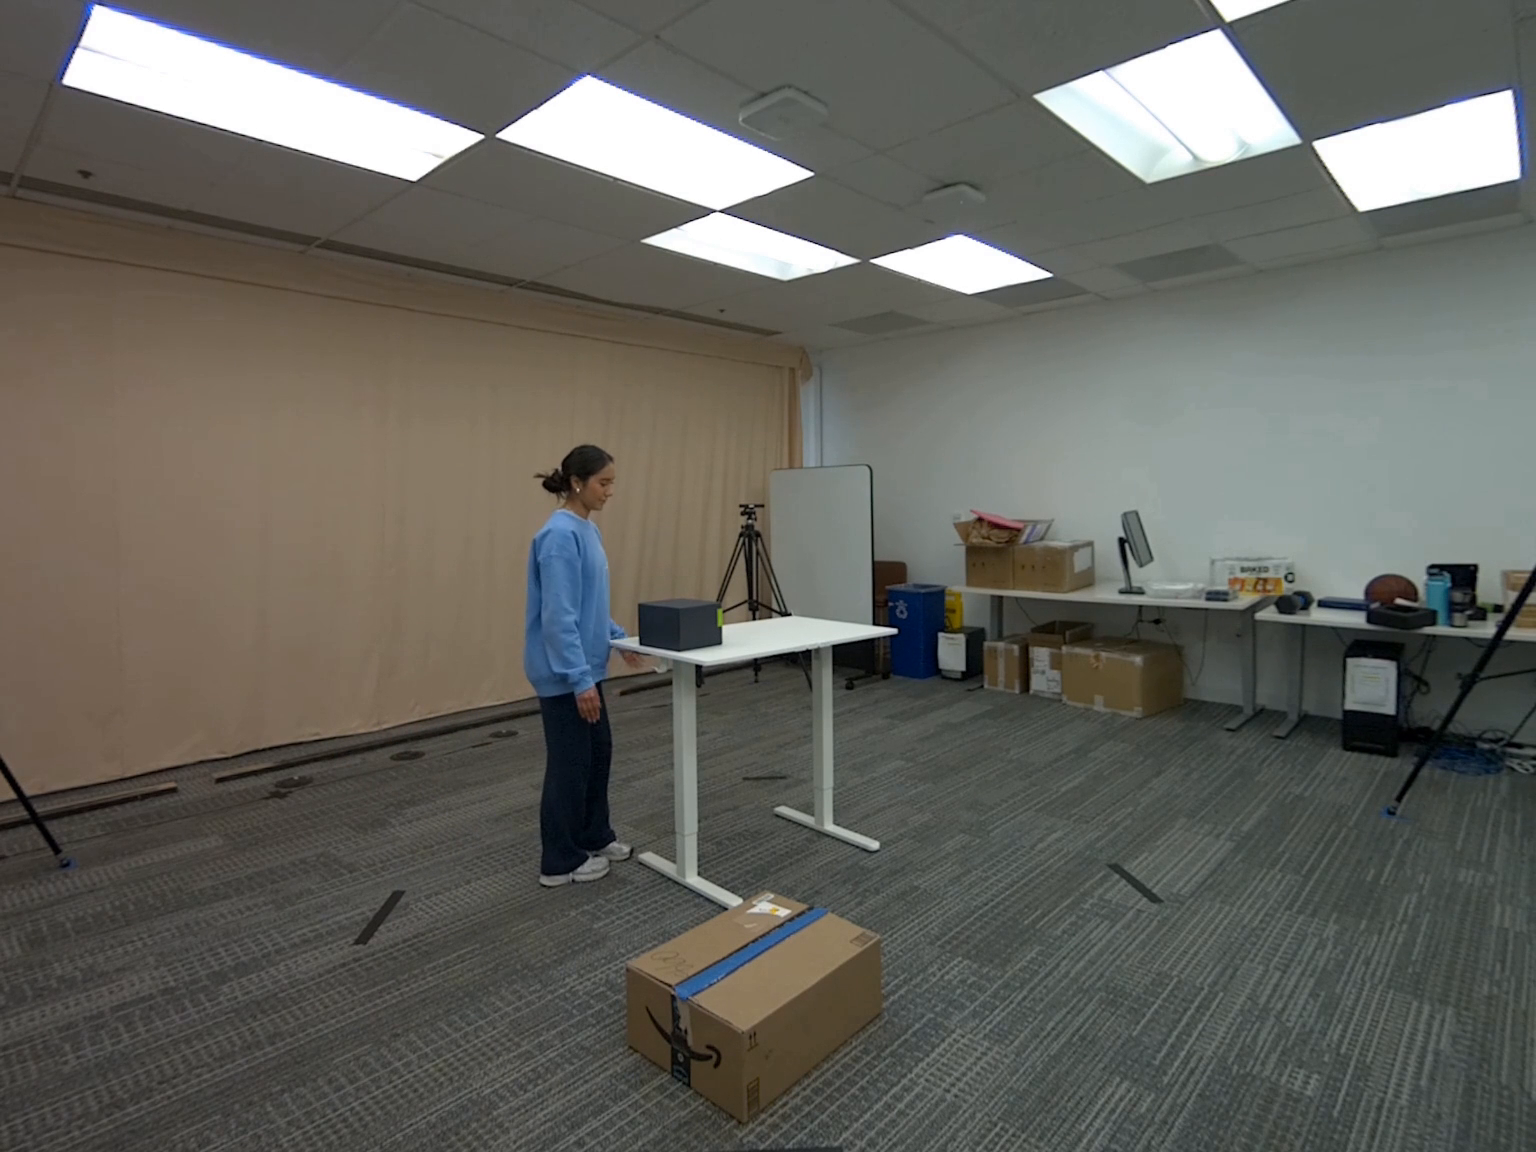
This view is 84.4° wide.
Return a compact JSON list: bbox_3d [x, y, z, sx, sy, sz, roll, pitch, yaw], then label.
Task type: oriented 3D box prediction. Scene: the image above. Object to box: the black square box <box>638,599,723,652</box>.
[{"bbox_3d":[-0.319,0.175,3.083,0.235,0.155,0.210,3,5,44],"label":"black square box"}]
